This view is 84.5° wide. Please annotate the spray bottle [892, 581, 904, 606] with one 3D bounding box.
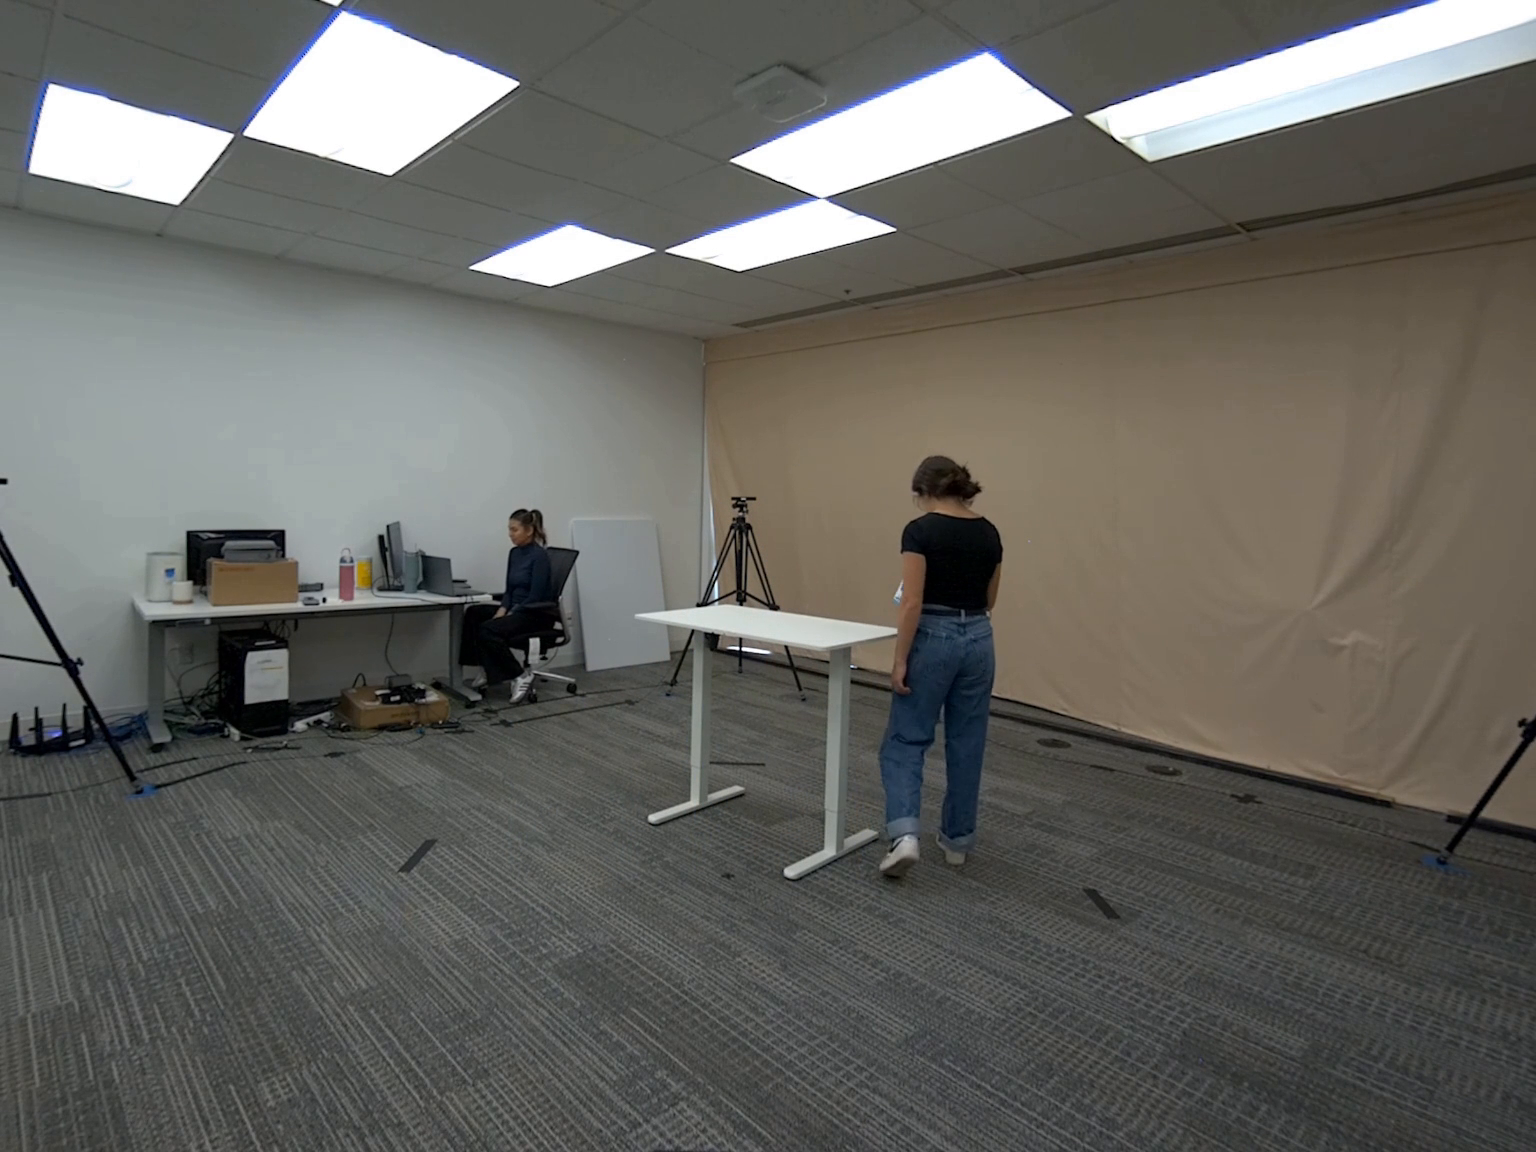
[{"bbox_3d":[0.610,-0.005,3.461,0.091,0.297,0.086,26,5,9],"label":"spray bottle"}]
